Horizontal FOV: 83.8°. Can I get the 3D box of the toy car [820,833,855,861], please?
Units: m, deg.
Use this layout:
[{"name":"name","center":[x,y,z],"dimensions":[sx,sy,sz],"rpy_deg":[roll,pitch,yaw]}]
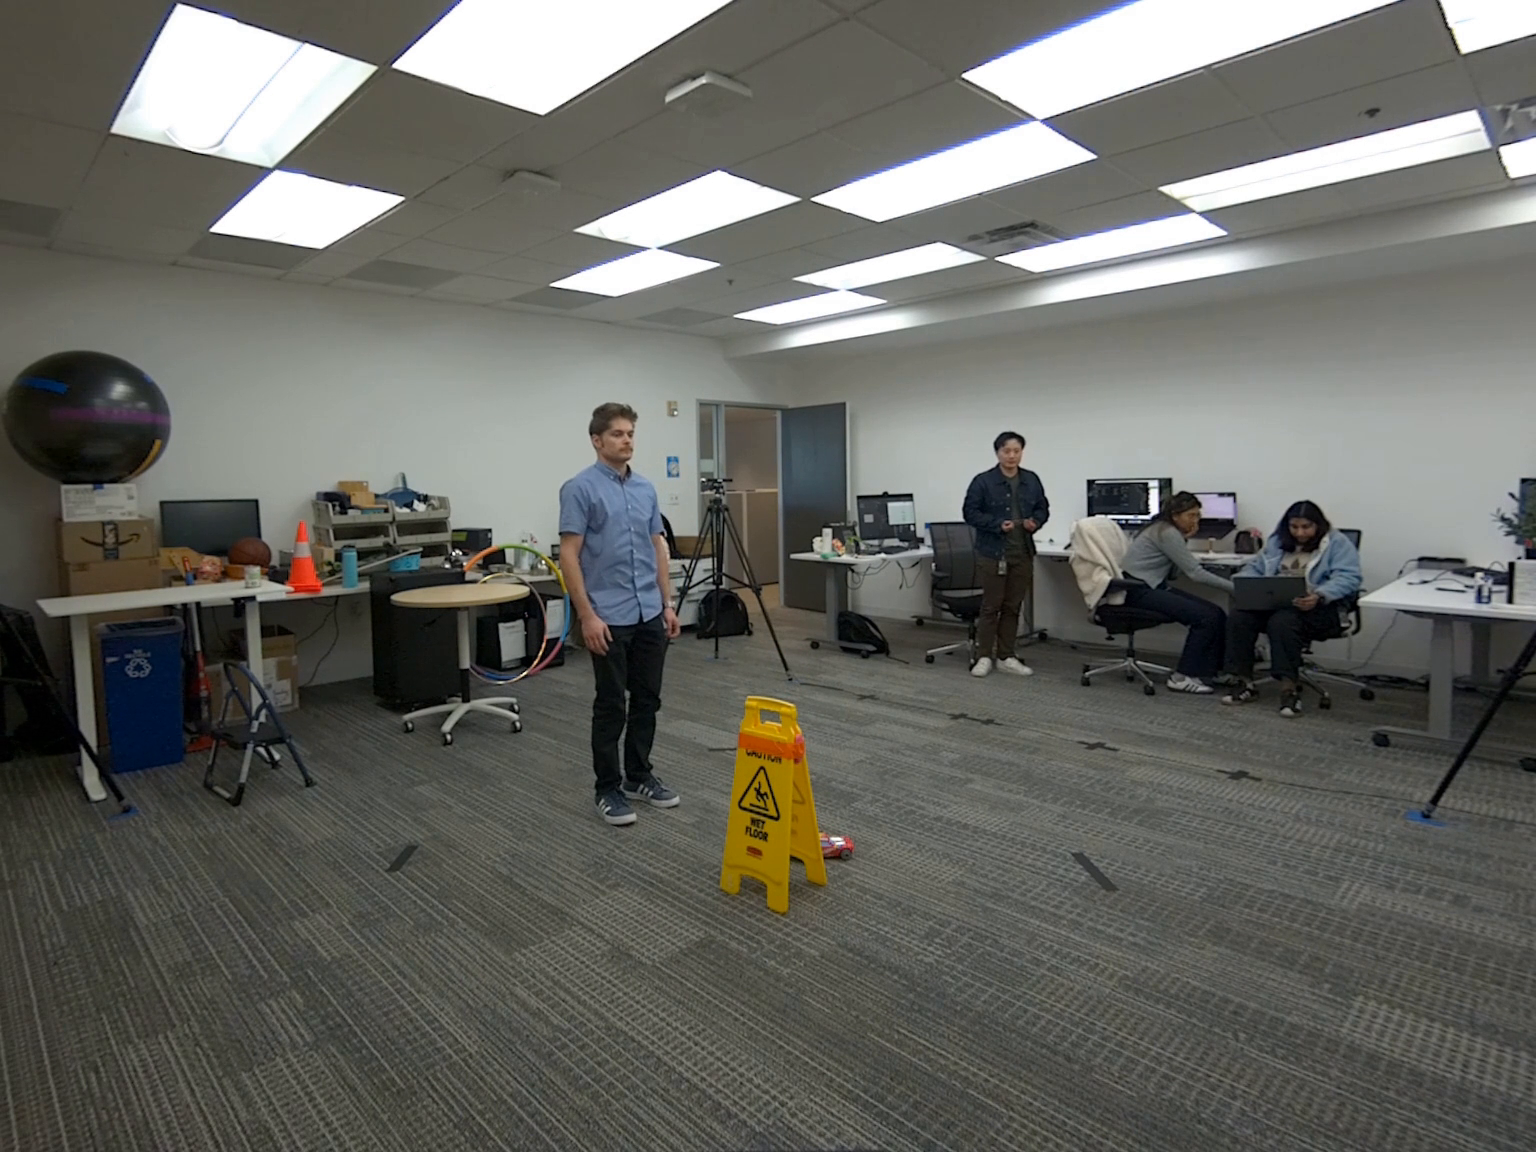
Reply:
[{"name":"toy car","center":[0.188,1.001,3.163],"dimensions":[0.253,0.083,0.131],"rpy_deg":[9,3,-4]}]
